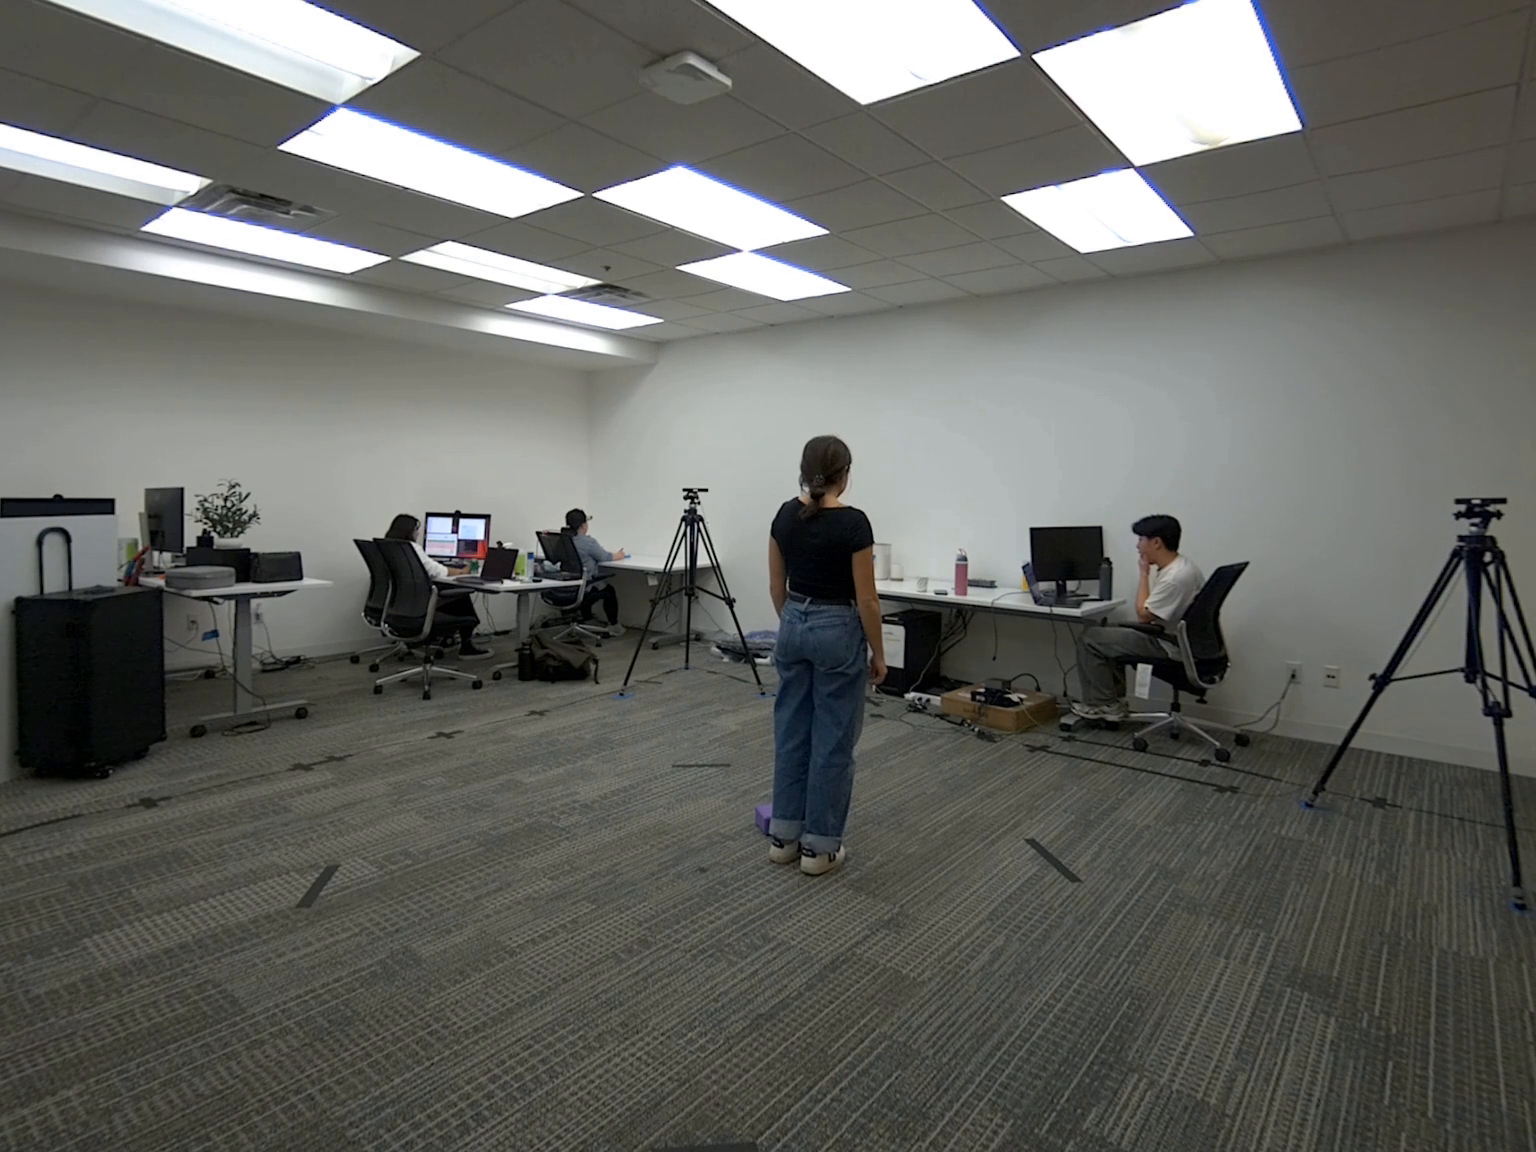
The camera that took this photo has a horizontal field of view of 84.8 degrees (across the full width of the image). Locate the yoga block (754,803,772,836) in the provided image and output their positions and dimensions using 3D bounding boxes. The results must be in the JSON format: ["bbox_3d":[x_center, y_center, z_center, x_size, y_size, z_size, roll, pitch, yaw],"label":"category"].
[{"bbox_3d":[0.085,0.984,3.511,0.226,0.076,0.152,-2,6,-15],"label":"yoga block"}]
